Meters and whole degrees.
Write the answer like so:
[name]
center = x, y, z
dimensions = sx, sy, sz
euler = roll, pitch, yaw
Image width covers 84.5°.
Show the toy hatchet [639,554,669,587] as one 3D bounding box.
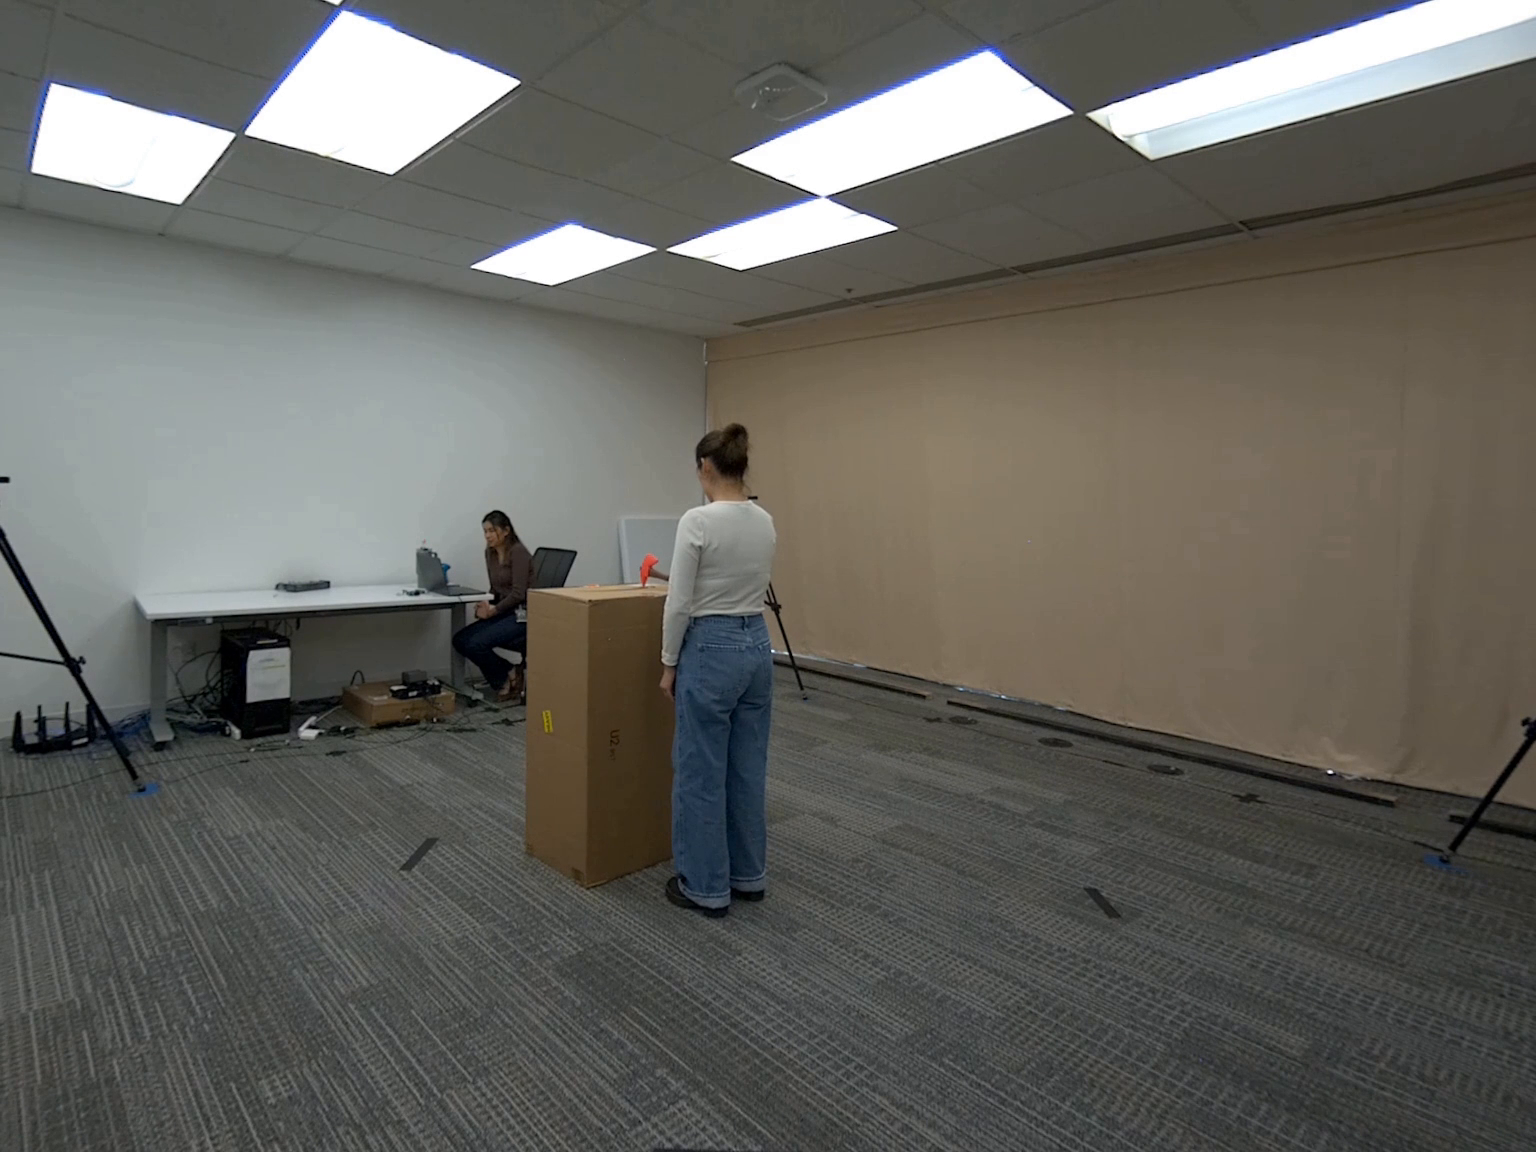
[toy hatchet]
center = -0.408, -0.034, 3.302
dimensions = 0.275, 0.131, 0.029
euler = -4, -6, 33
